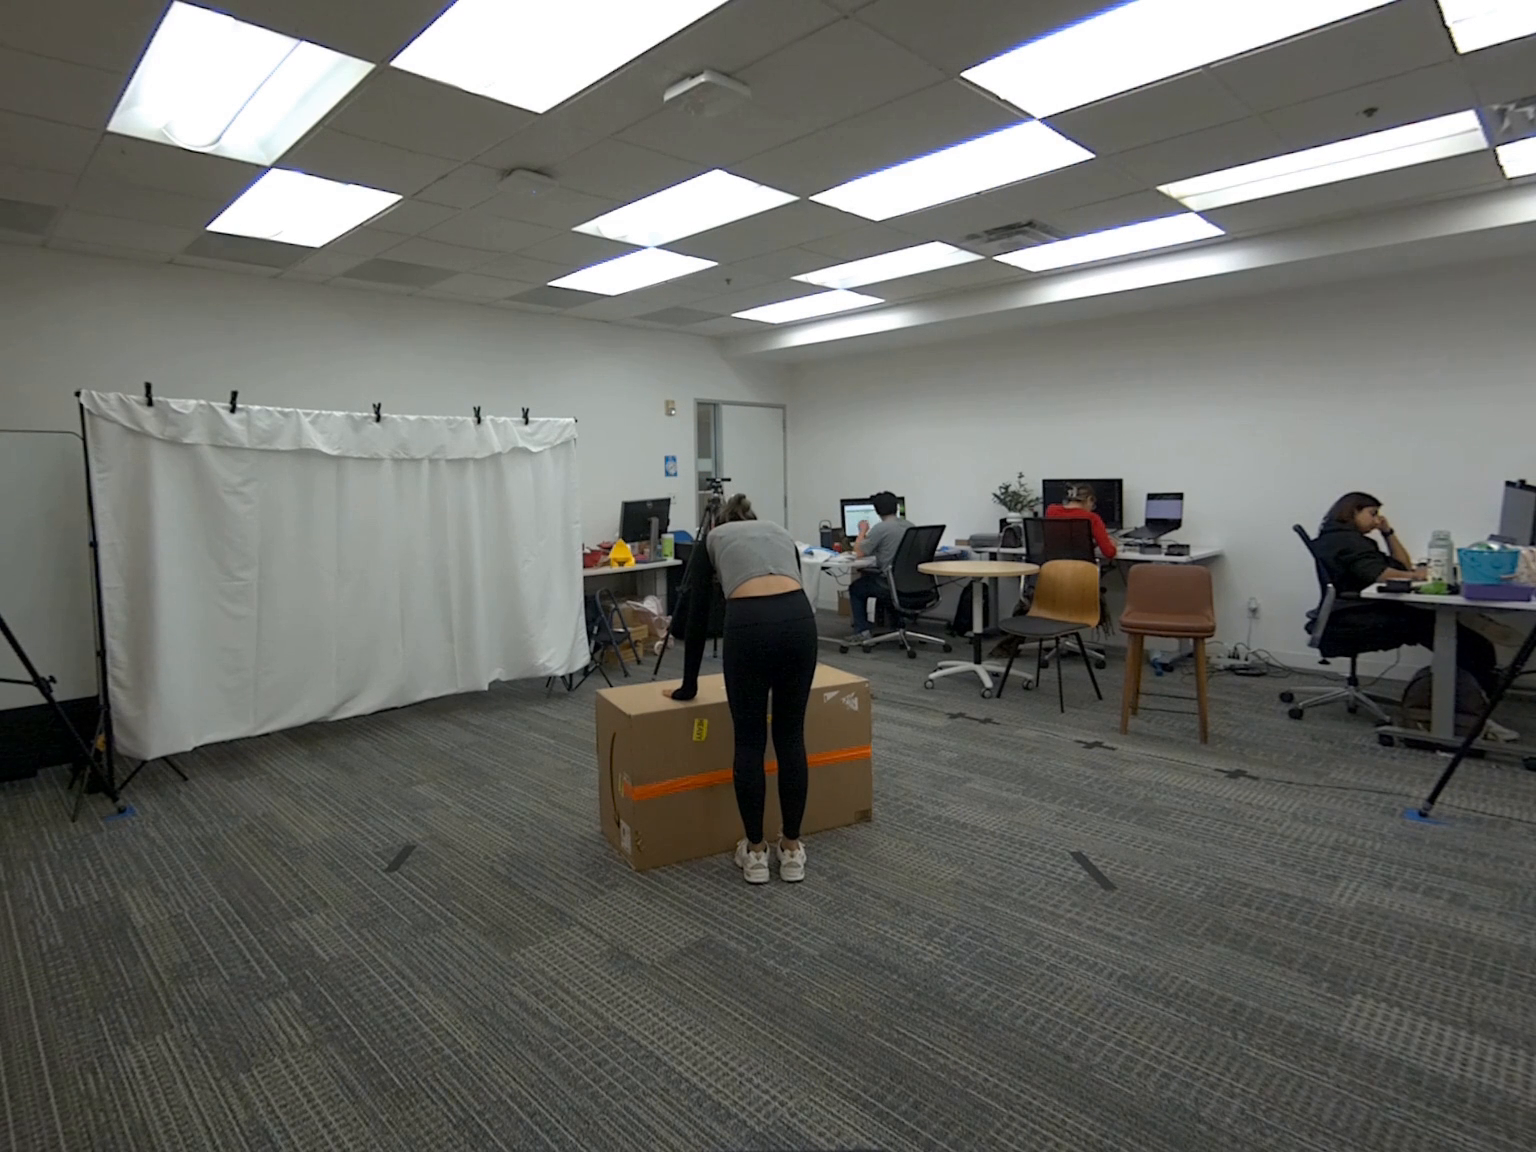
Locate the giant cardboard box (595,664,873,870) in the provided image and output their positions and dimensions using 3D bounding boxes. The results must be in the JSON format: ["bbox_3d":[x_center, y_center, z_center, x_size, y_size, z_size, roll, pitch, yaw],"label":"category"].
[{"bbox_3d":[-0.131,0.719,3.428,1.005,0.575,0.437,-4,5,-25],"label":"giant cardboard box"}]
